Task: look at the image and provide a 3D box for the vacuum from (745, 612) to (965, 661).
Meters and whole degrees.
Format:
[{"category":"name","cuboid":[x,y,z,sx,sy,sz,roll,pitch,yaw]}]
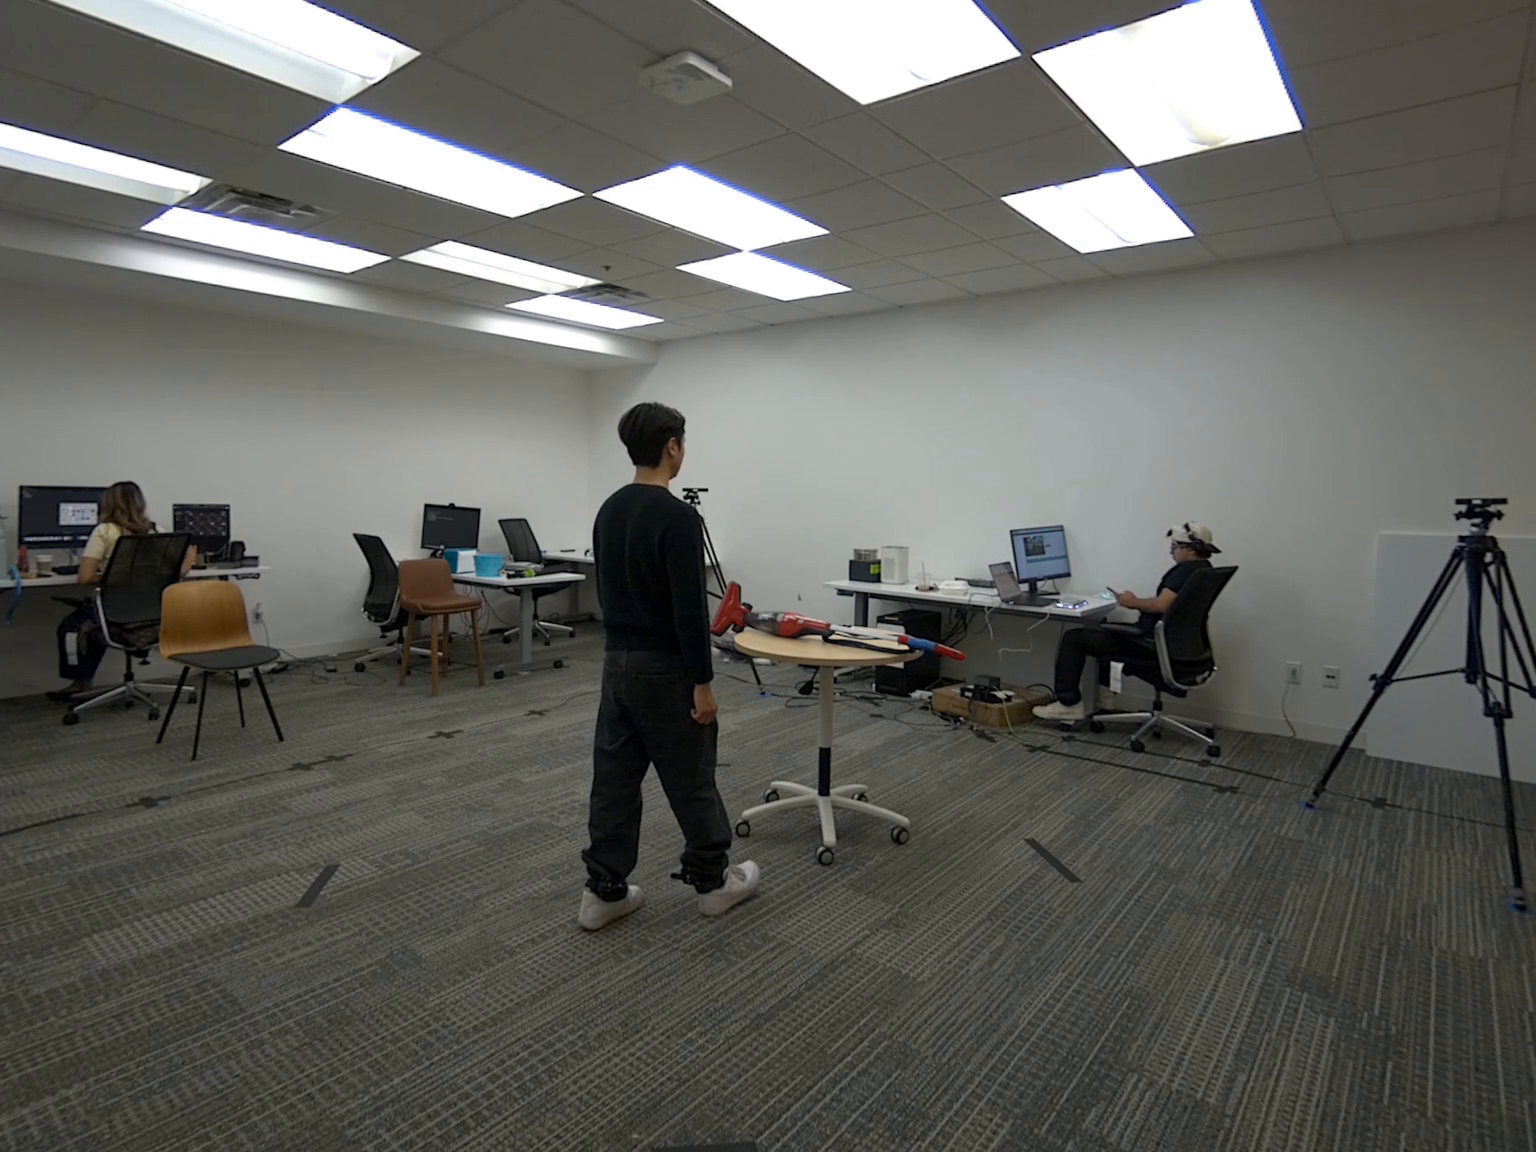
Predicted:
[{"category":"vacuum","cuboid":[0.258,0.227,3.397,1.085,0.255,0.138,9,-25,36]}]
